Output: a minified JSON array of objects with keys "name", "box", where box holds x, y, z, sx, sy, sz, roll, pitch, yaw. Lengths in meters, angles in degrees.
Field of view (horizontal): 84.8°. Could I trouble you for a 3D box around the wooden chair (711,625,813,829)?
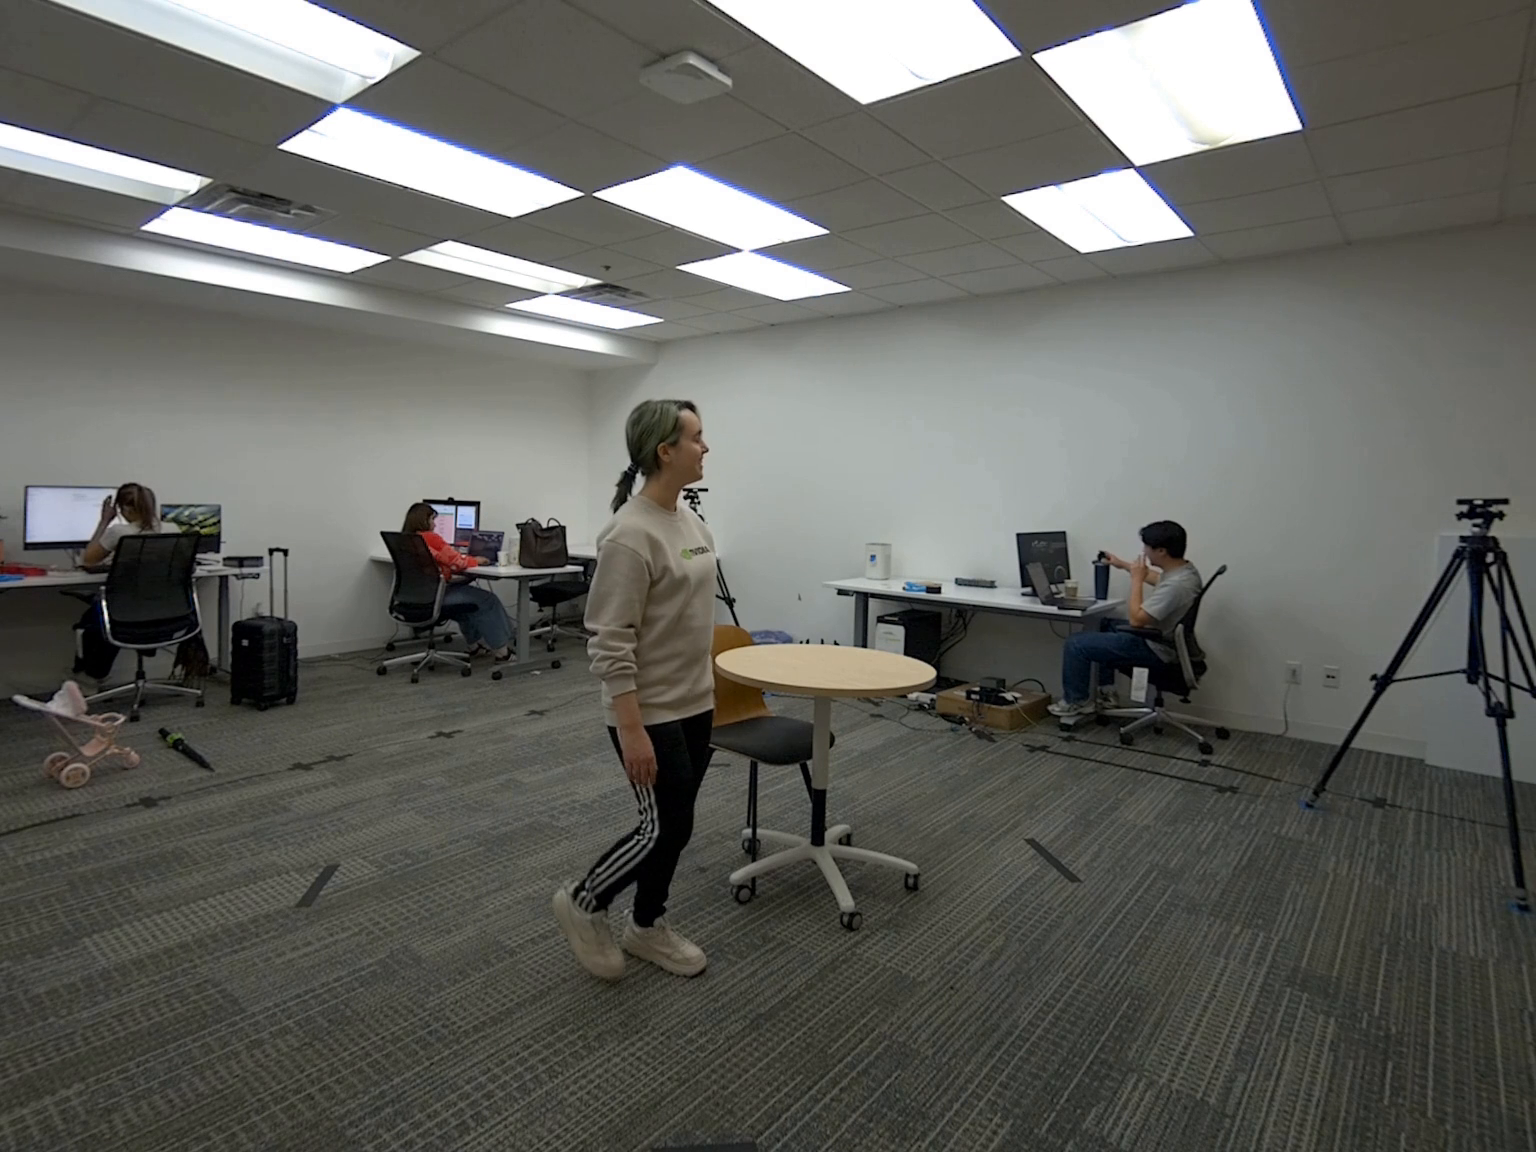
[{"name":"wooden chair","box":[-0.057,0.635,3.190,0.539,0.878,0.463,-2,0,44]}]
